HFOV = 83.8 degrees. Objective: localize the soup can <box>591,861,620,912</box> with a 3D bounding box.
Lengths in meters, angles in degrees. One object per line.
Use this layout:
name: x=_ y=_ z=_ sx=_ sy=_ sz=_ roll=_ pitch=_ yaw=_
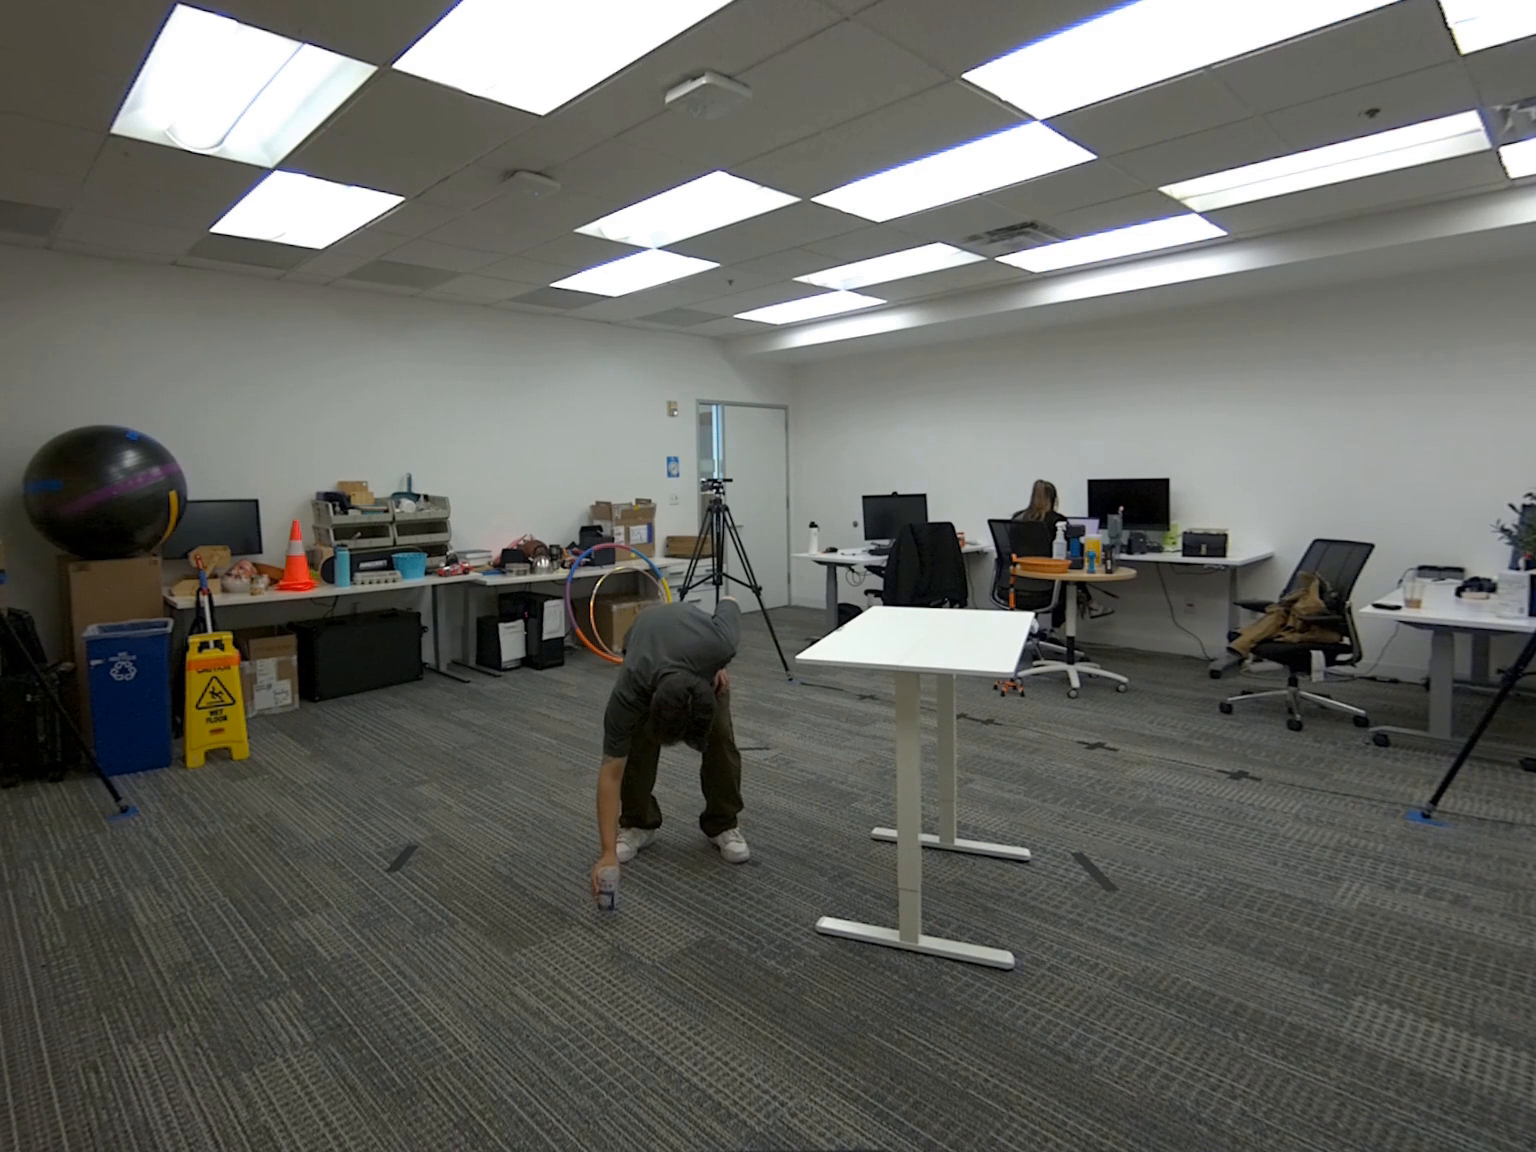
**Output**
soup can: x=-0.511 y=0.991 z=2.697 sx=0.067 sy=0.121 sz=0.067 roll=-1 pitch=3 yaw=-2
